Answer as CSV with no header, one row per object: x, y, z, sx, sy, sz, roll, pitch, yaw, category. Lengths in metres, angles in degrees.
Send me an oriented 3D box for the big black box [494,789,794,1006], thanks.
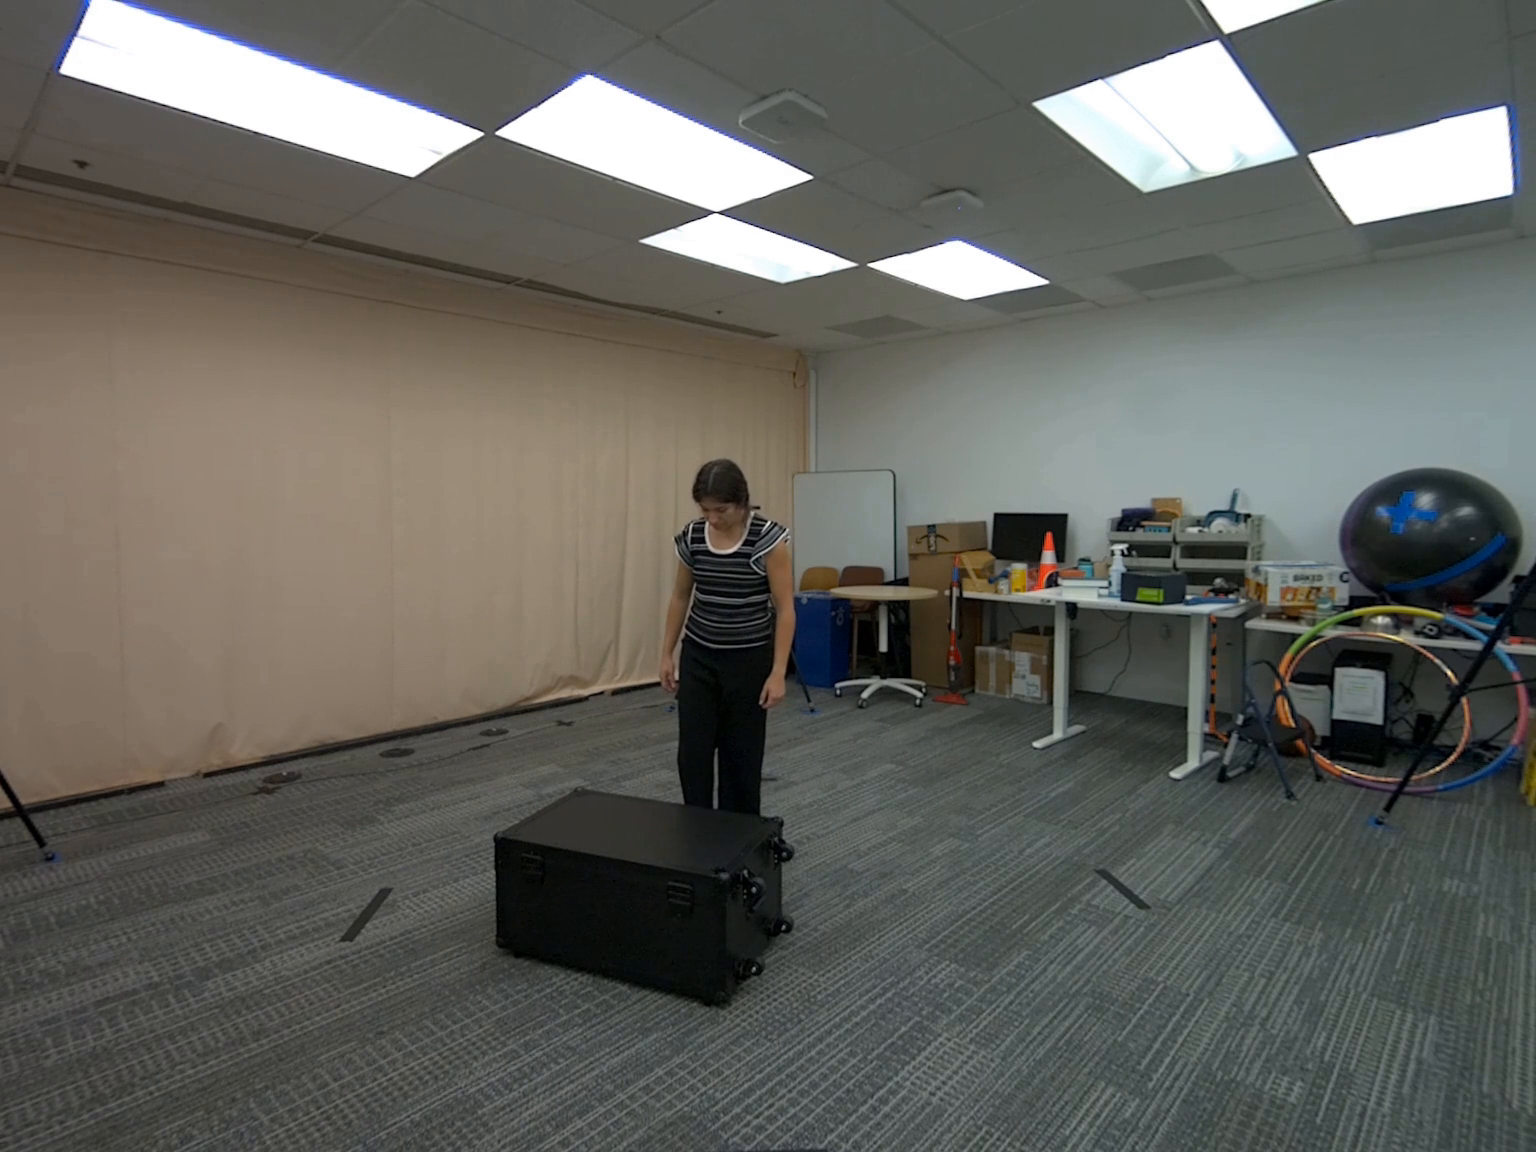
-0.366,0.980,2.668,0.881,0.396,0.510,1,3,22,big black box
